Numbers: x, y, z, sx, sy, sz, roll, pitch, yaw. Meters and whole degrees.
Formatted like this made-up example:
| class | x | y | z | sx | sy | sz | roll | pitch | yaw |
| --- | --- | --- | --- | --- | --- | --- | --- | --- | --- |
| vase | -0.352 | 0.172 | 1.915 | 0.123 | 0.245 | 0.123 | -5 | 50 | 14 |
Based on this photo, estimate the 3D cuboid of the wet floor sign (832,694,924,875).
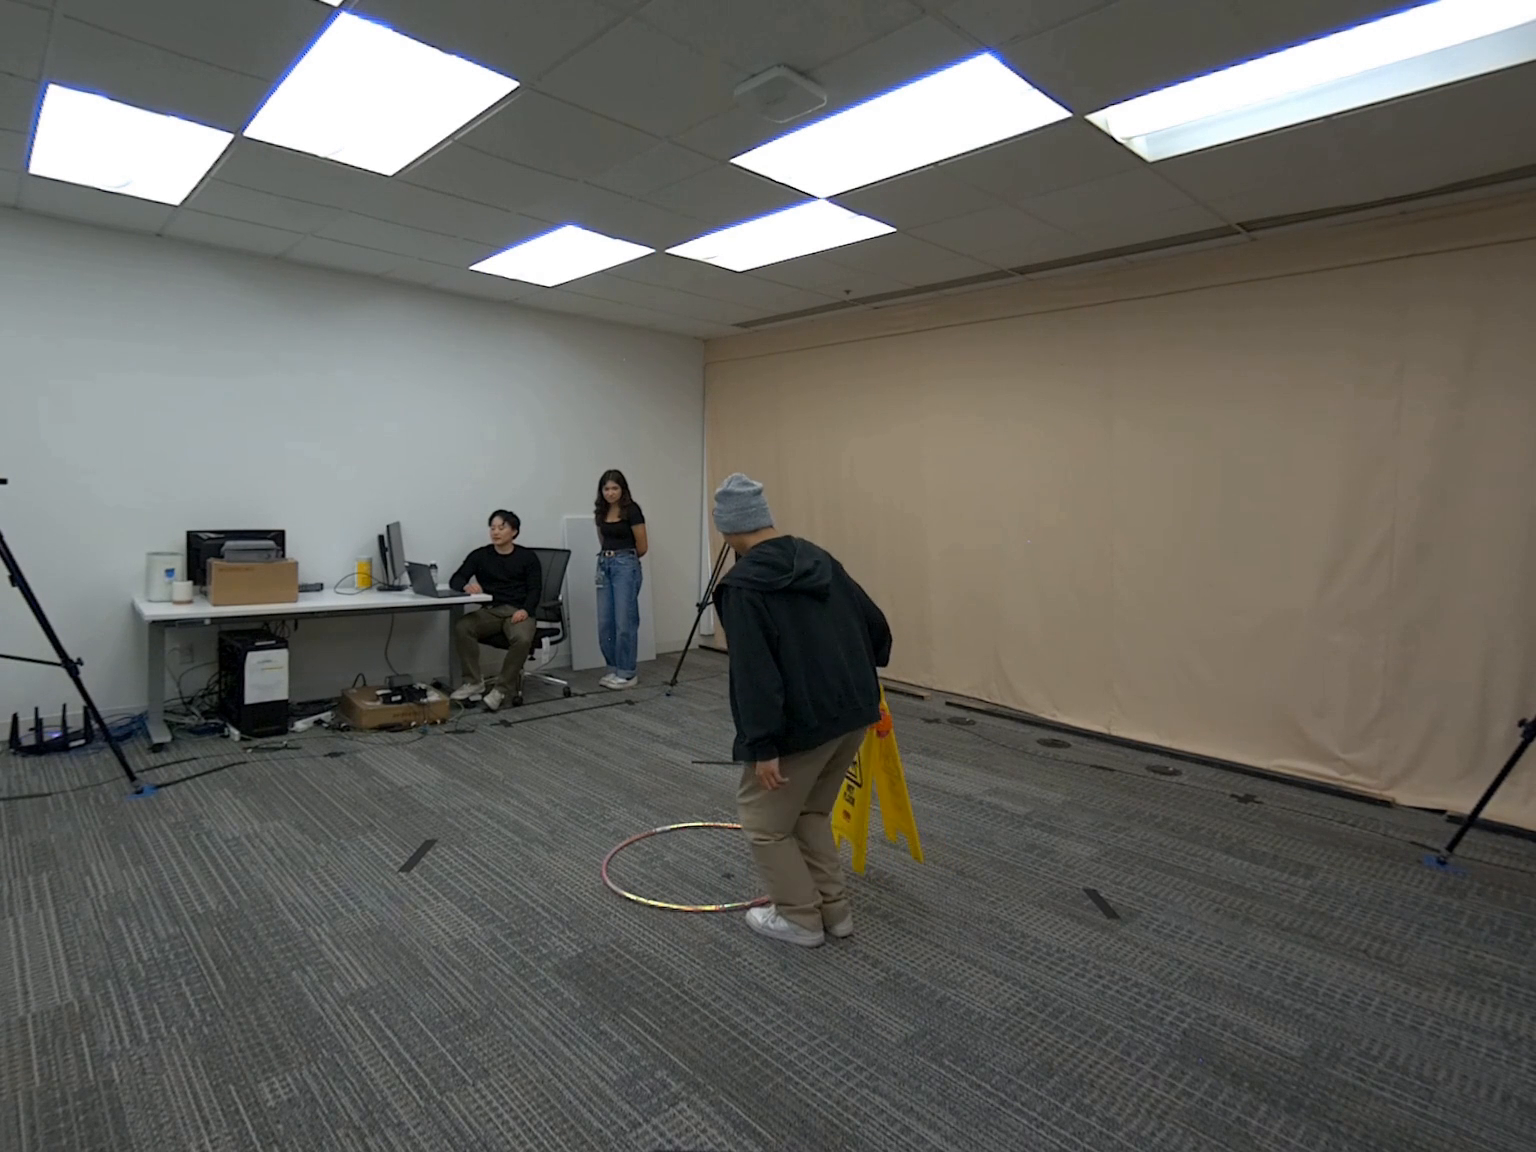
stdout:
| class | x | y | z | sx | sy | sz | roll | pitch | yaw |
| --- | --- | --- | --- | --- | --- | --- | --- | --- | --- |
| wet floor sign | 0.355 | 0.662 | 3.025 | 0.286 | 0.645 | 0.286 | -4 | 2 | -16 |
